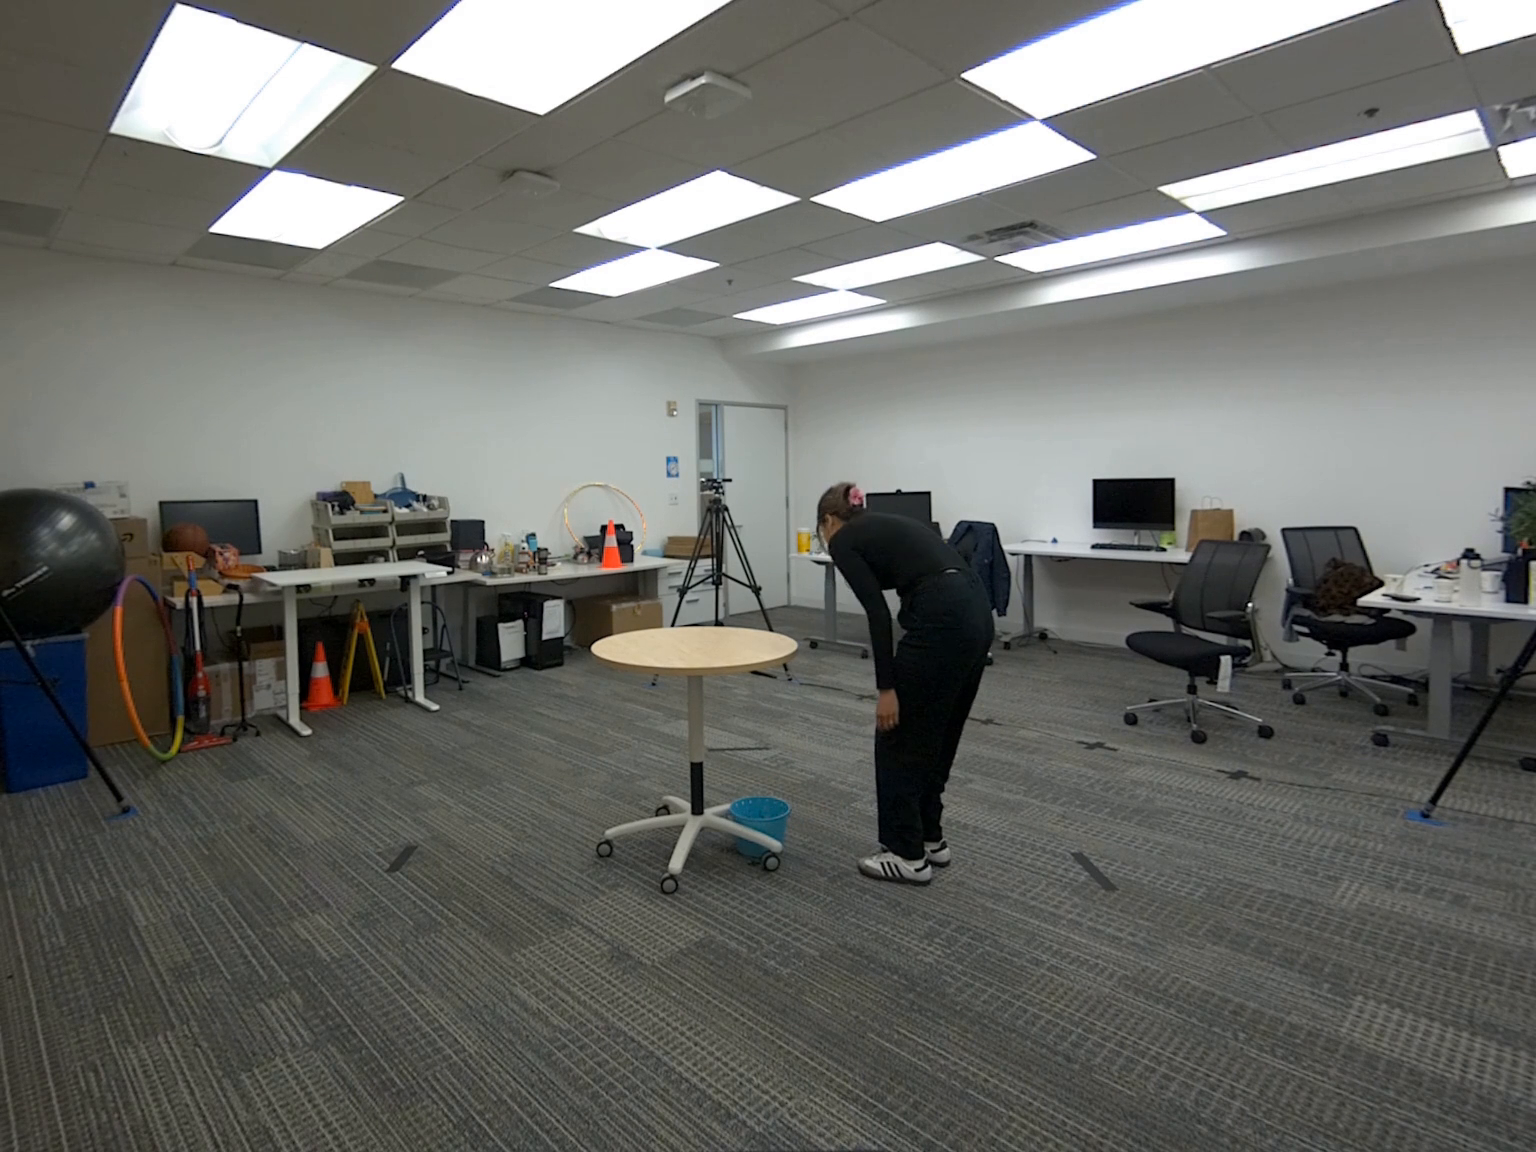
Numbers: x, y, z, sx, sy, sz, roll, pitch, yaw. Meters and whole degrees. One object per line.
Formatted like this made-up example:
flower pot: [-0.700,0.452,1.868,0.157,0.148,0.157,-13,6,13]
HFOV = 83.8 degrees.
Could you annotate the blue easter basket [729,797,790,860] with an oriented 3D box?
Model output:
blue easter basket: [-0.029,0.952,3.252,0.243,0.155,0.245,0,5,-2]
